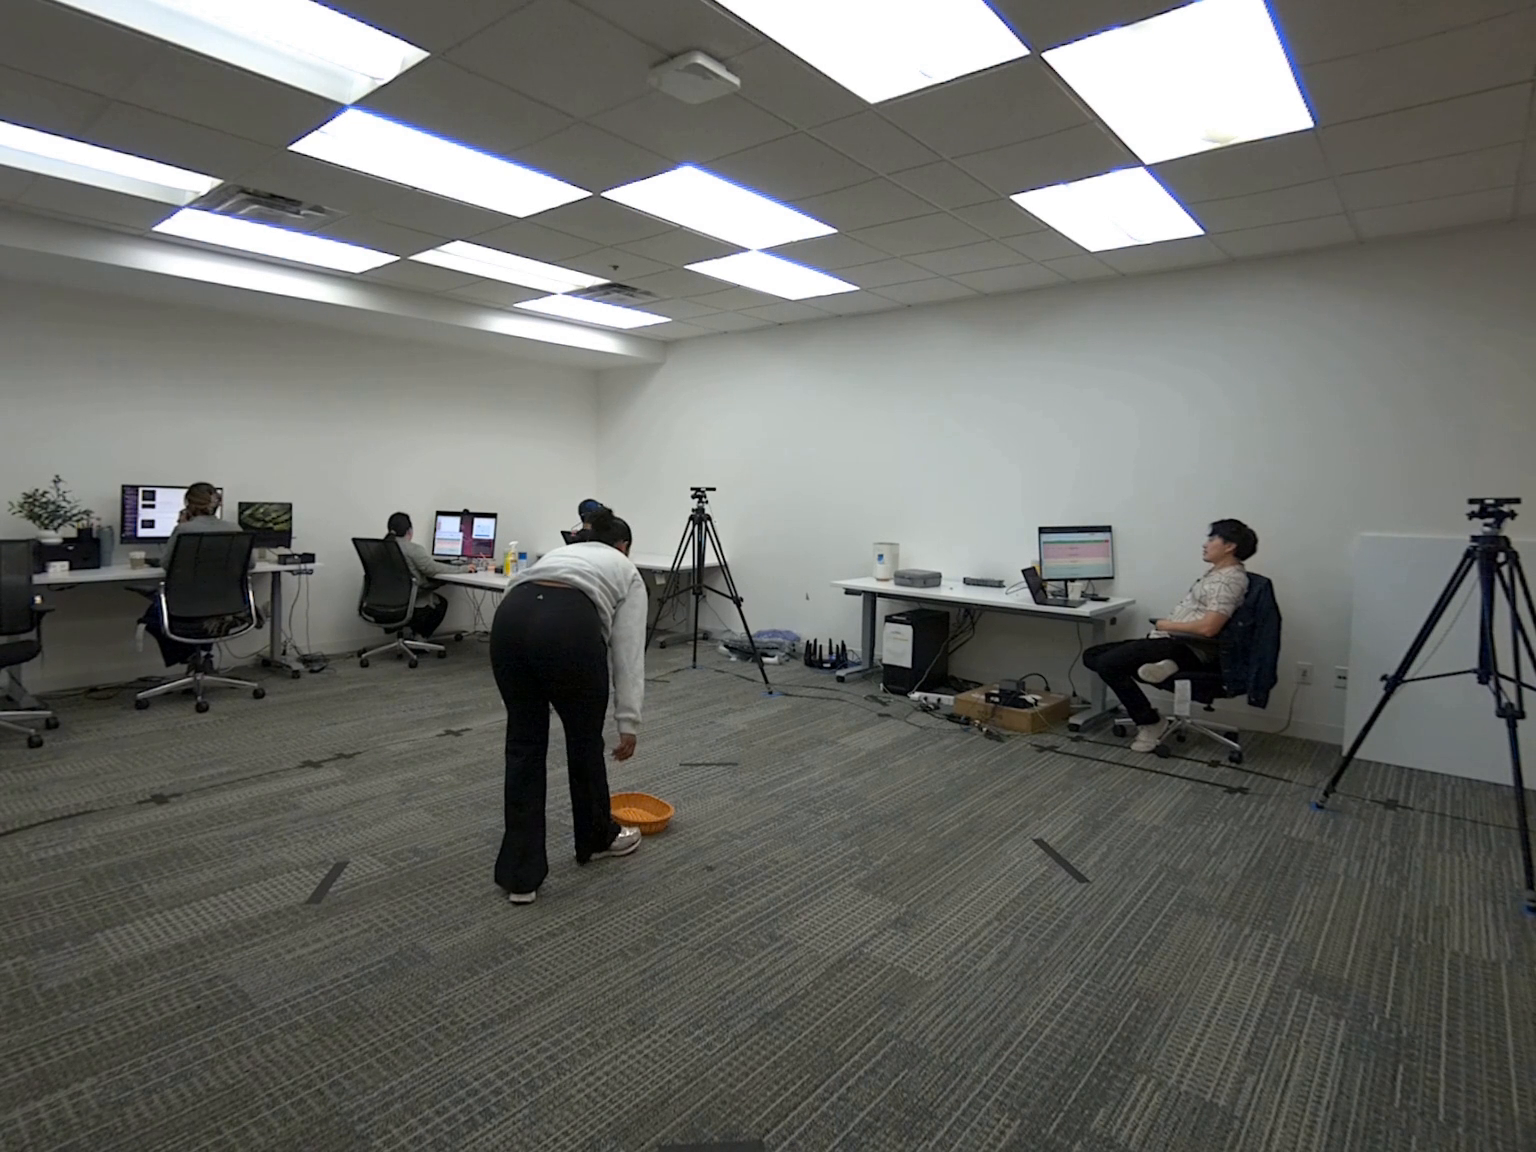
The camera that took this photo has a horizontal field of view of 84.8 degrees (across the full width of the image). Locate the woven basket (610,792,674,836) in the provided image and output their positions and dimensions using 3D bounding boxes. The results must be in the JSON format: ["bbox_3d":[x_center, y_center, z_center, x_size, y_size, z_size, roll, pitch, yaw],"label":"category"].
[{"bbox_3d":[-0.553,0.981,3.527,0.245,0.073,0.362,-3,7,-40],"label":"woven basket"}]
